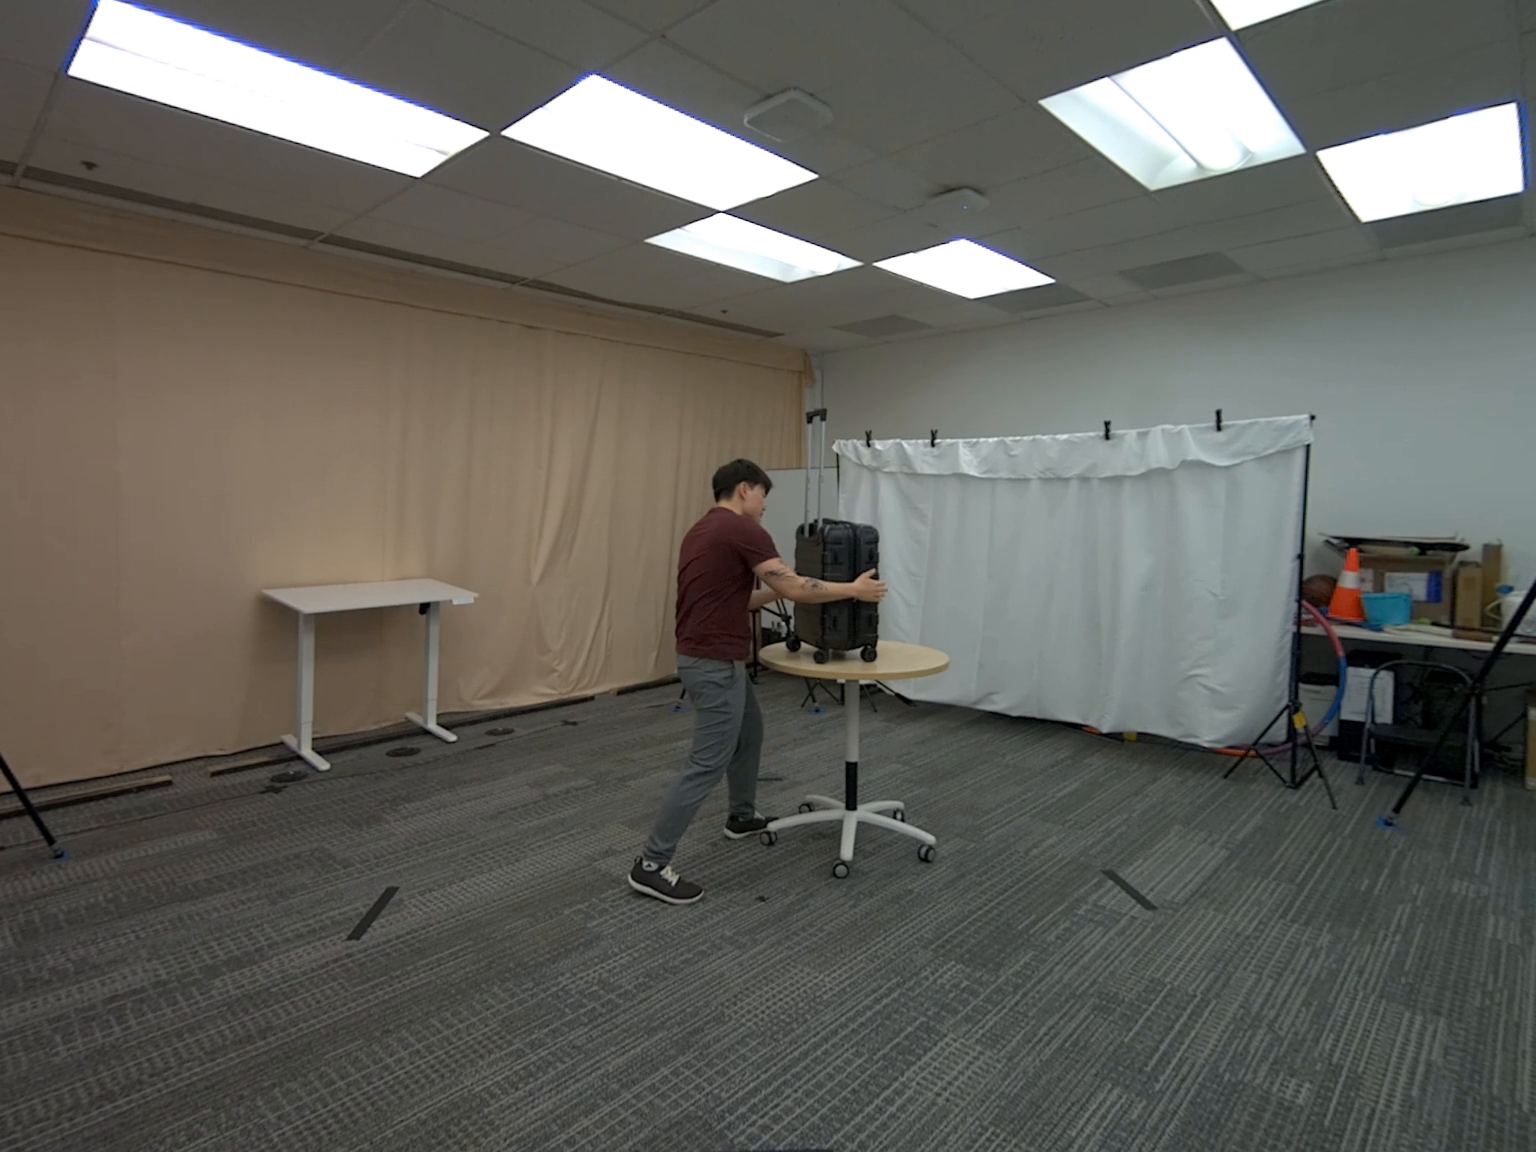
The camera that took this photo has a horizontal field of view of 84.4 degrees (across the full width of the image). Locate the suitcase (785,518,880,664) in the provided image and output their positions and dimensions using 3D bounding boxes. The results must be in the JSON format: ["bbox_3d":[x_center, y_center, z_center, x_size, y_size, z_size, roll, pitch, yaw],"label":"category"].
[{"bbox_3d":[0.280,-0.157,3.374,0.253,0.976,0.391,1,5,-15],"label":"suitcase"}]
